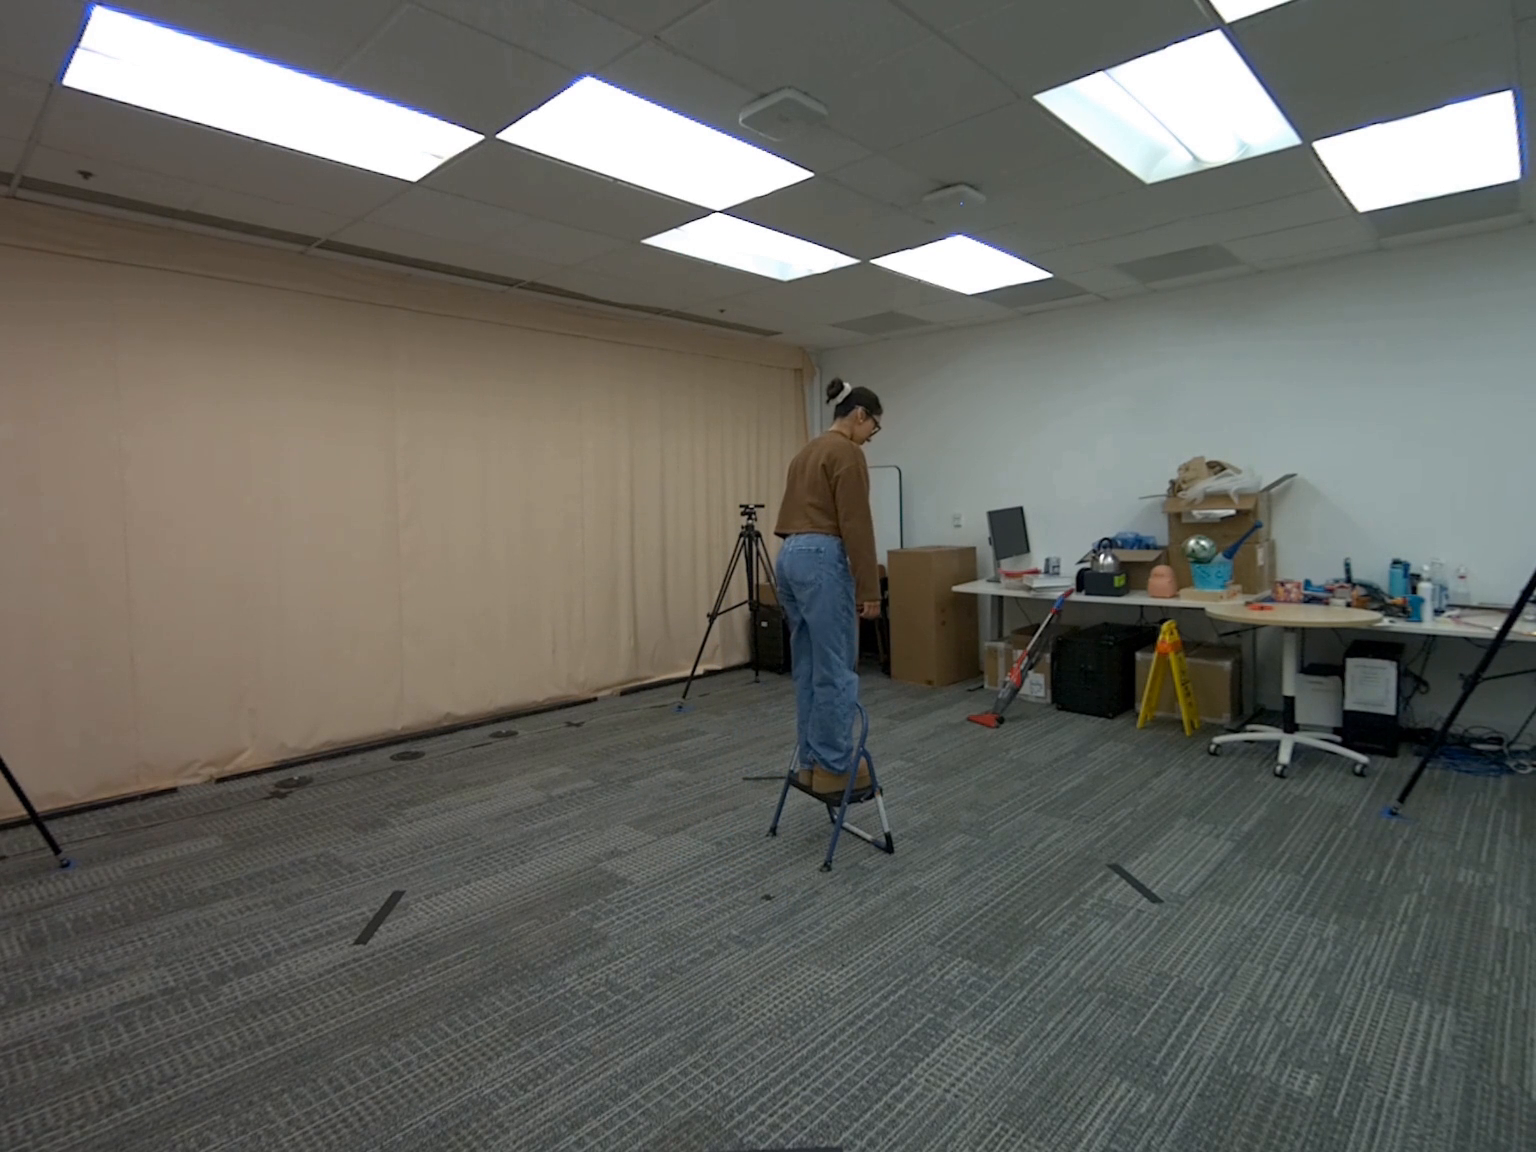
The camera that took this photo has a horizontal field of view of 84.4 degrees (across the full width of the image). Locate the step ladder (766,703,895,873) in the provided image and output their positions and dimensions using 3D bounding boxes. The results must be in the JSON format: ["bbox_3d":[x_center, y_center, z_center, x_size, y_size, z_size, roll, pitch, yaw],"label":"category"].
[{"bbox_3d":[0.254,0.795,3.429,0.340,0.605,0.443,-2,4,-30],"label":"step ladder"}]
